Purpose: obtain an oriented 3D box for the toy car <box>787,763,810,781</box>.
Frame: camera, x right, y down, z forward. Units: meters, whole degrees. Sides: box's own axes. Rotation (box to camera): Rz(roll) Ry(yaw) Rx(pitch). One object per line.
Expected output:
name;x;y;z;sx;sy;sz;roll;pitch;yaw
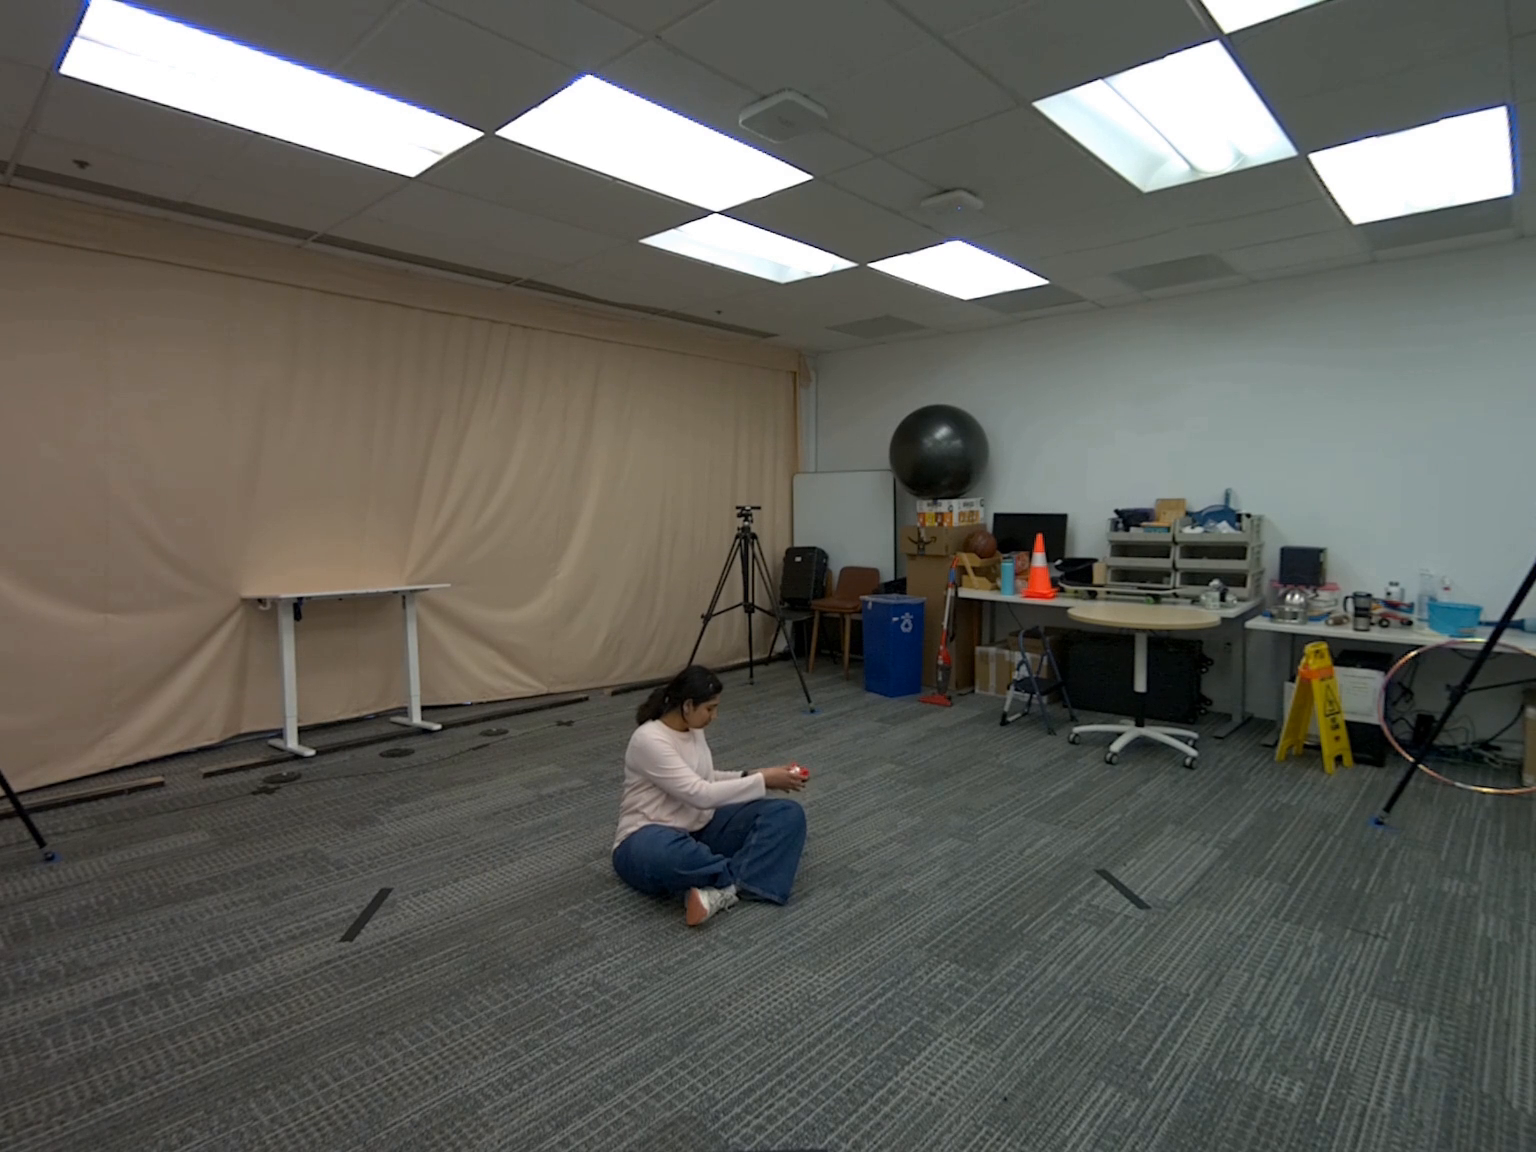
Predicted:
toy car;0.088;0.812;3.368;0.127;0.084;0.256;-16;-14;-29
